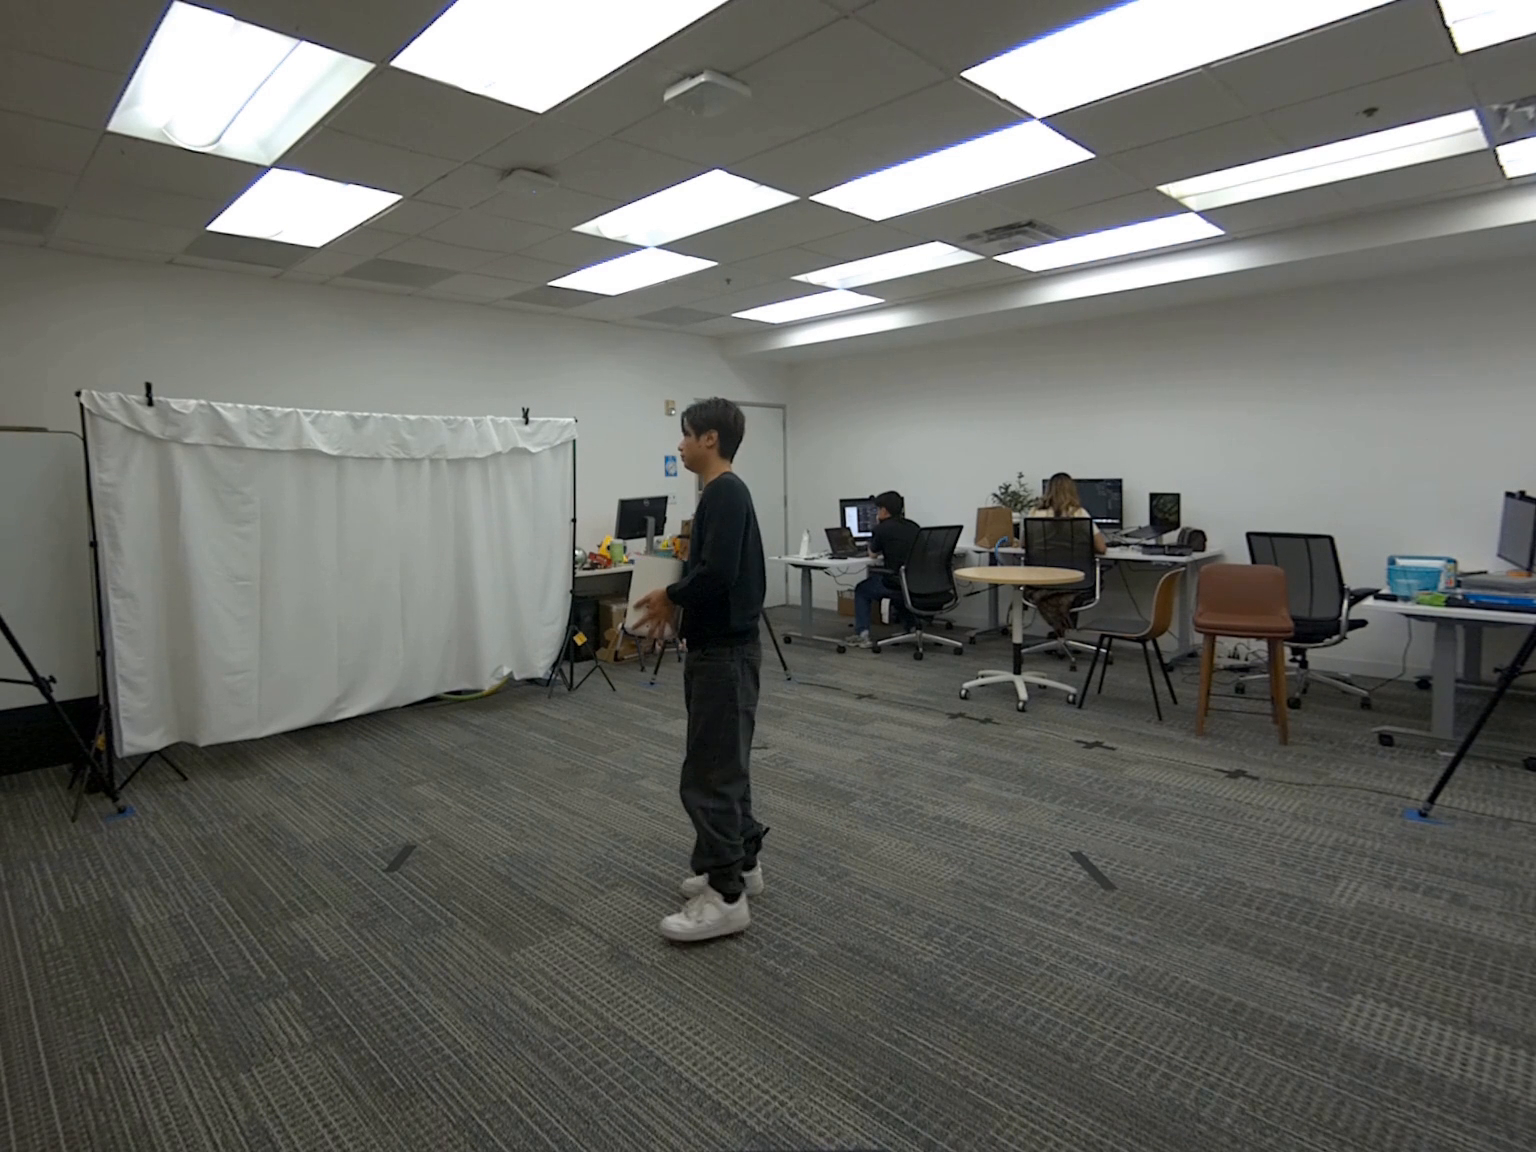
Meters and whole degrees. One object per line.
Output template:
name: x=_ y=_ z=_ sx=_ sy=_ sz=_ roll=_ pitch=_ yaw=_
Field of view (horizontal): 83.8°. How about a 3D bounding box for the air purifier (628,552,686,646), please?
air purifier: x=-0.337 y=0.075 z=2.845 sx=0.172 sy=0.266 sz=0.170 roll=12 pitch=-4 yaw=4
